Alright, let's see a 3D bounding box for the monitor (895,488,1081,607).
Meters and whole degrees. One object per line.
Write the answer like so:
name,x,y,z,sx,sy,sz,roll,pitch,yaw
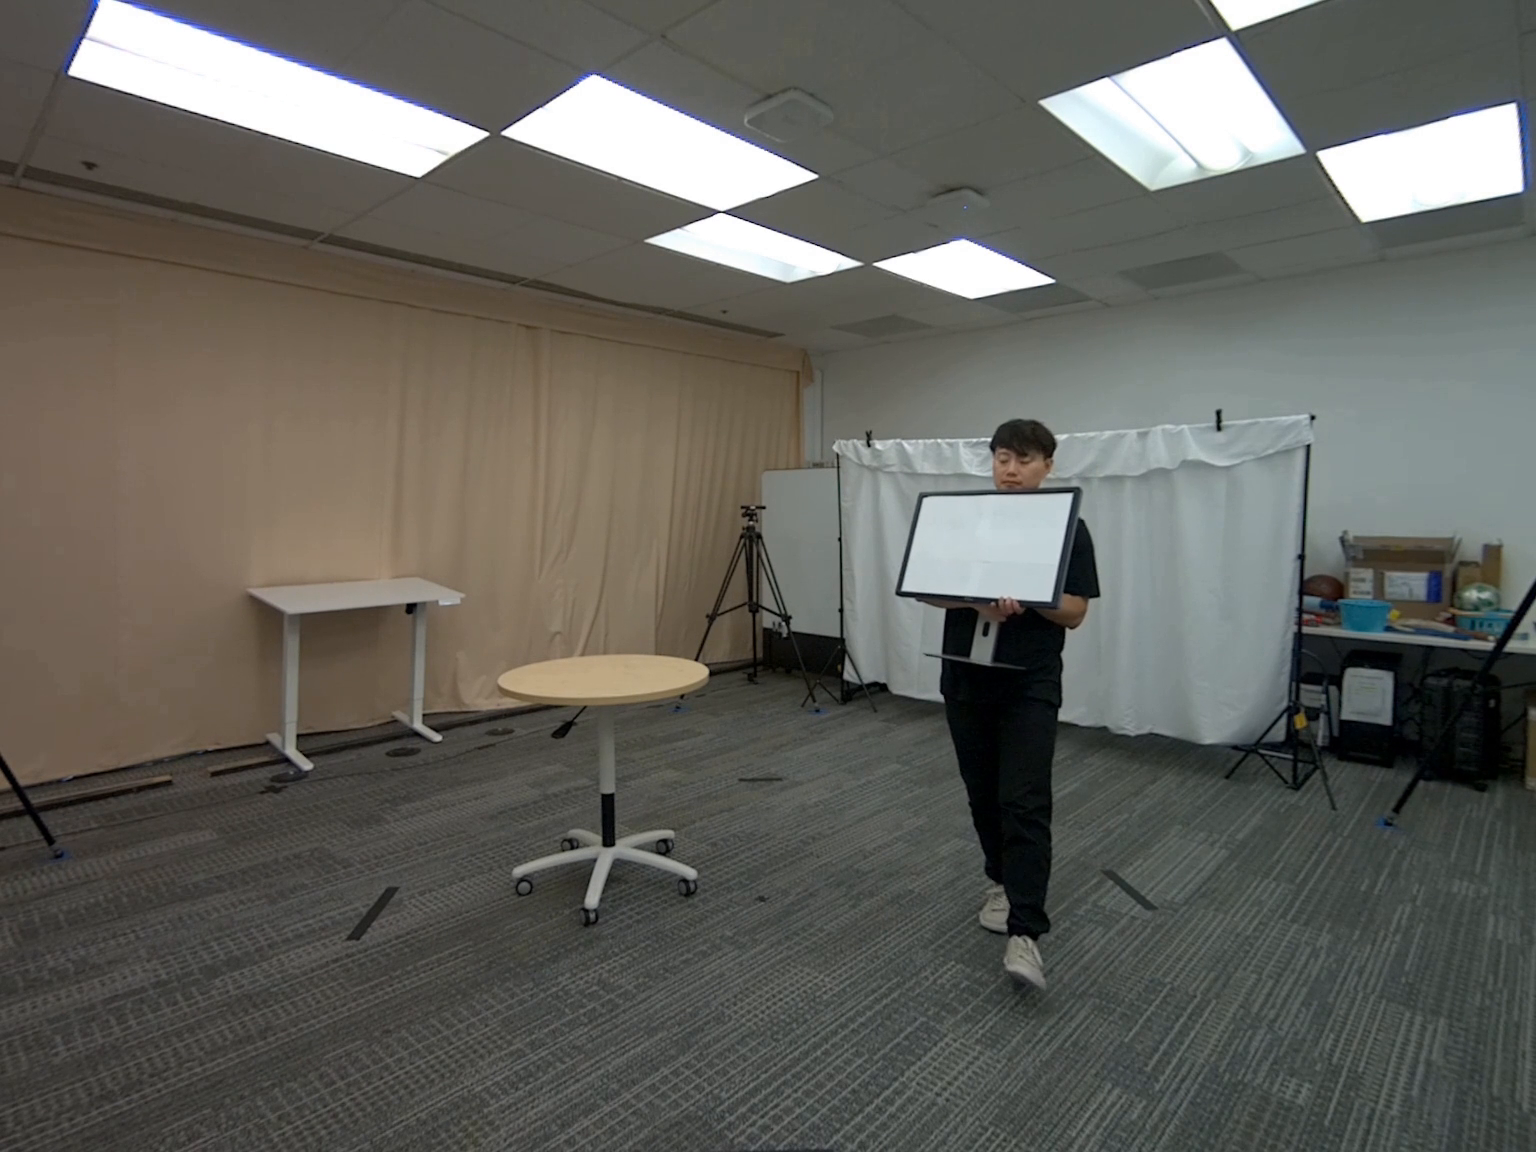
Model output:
monitor,0.664,0.002,2.594,0.181,0.523,0.557,10,-5,-42
